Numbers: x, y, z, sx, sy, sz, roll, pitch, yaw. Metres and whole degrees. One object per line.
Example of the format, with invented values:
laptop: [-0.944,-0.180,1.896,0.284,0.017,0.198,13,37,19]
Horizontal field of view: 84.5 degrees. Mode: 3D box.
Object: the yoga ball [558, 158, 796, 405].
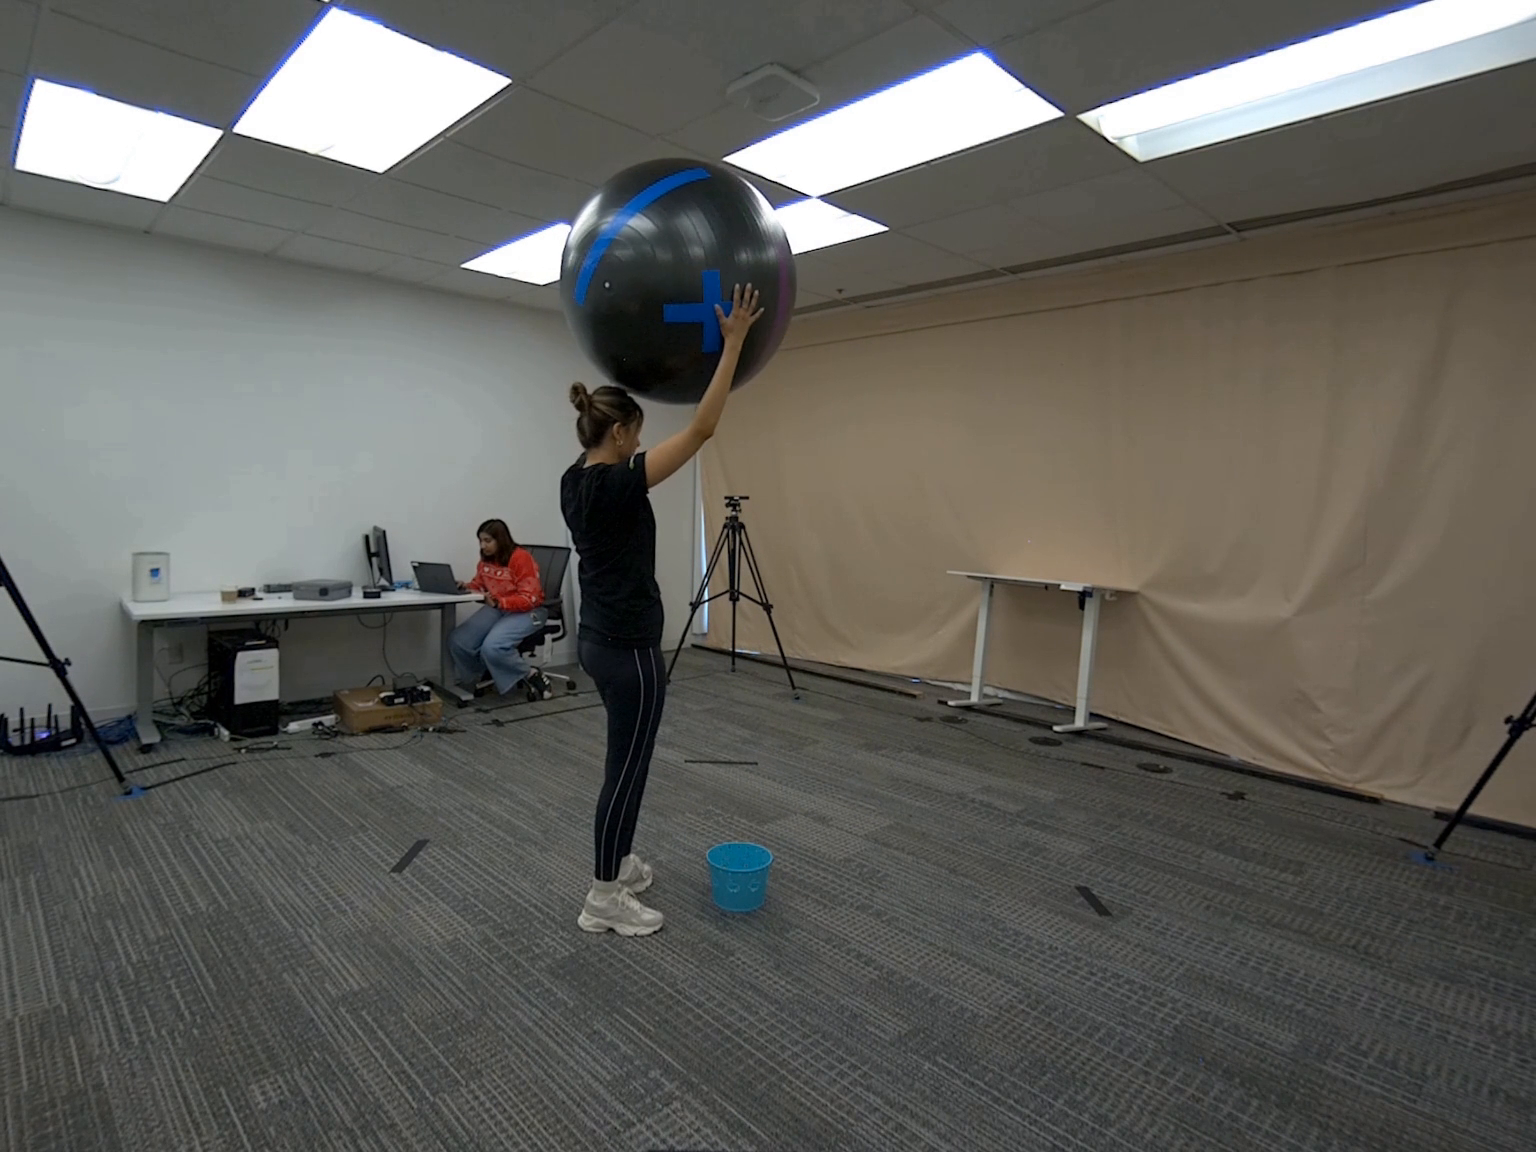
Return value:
yoga ball: [-0.292,-0.931,2.712,0.757,0.756,0.761,1,4,-1]
